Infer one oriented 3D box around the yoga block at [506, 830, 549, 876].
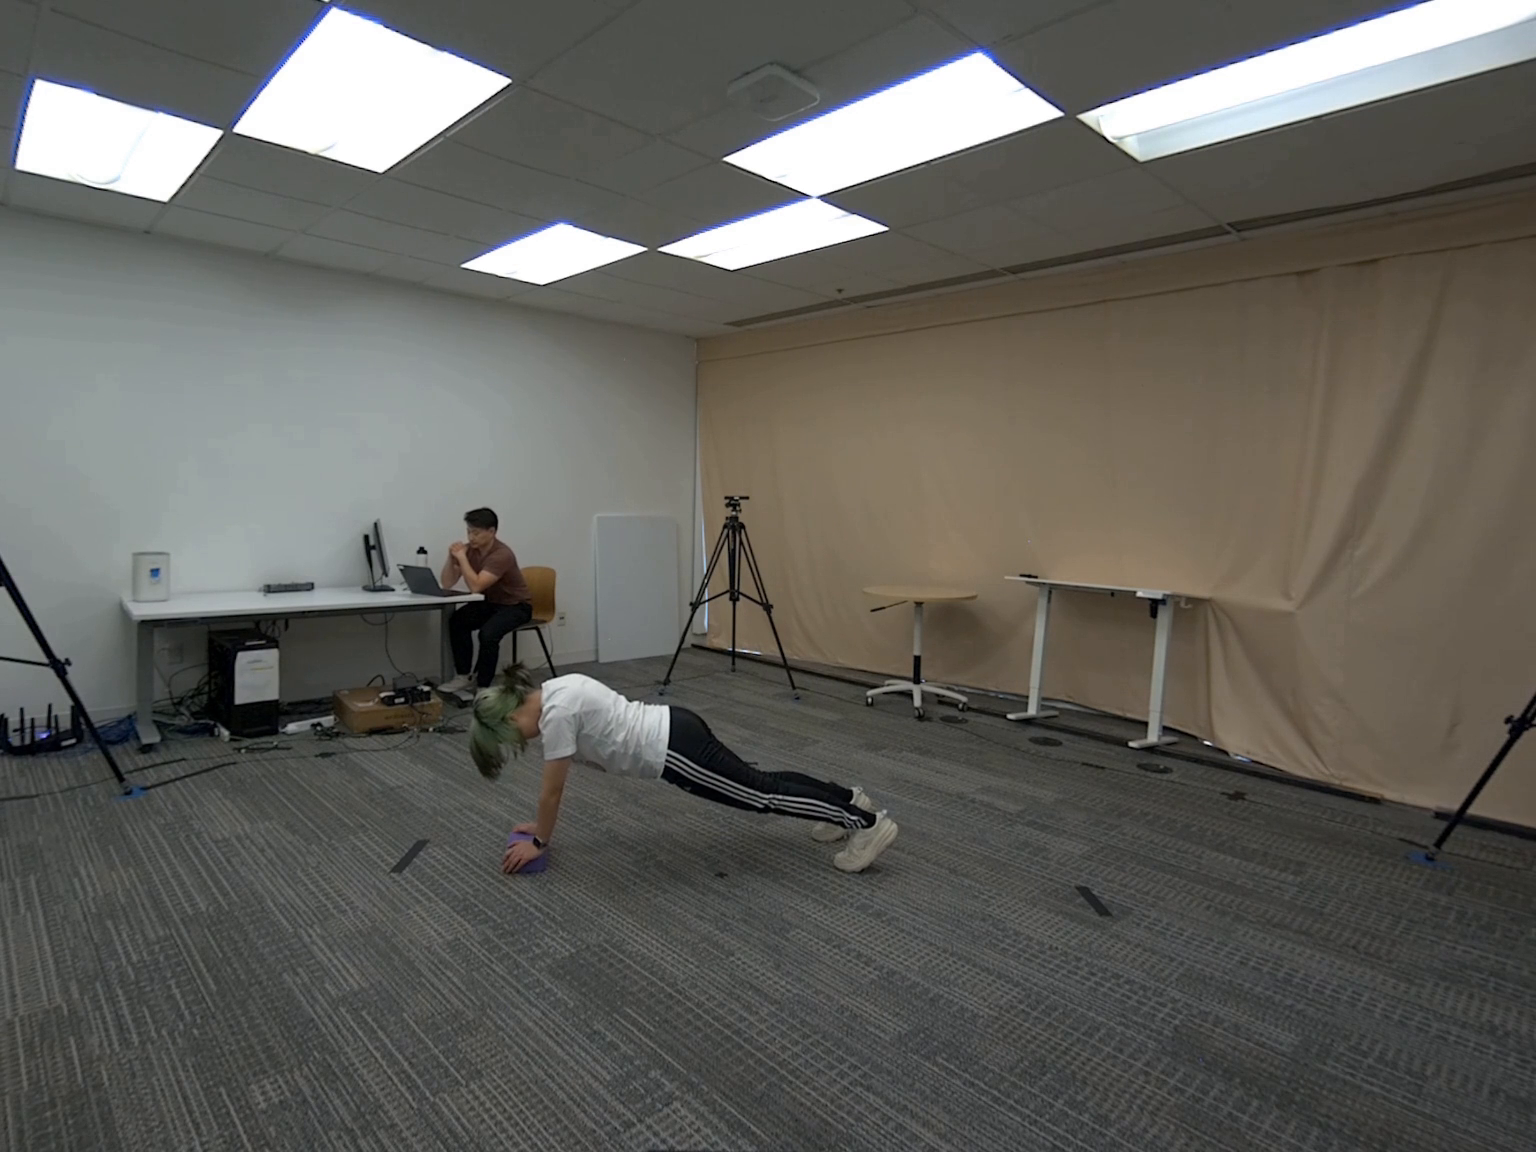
[{"bbox_3d":[-0.915,1.042,3.194,0.148,0.076,0.232,-1,7,-10],"label":"yoga block"}]
